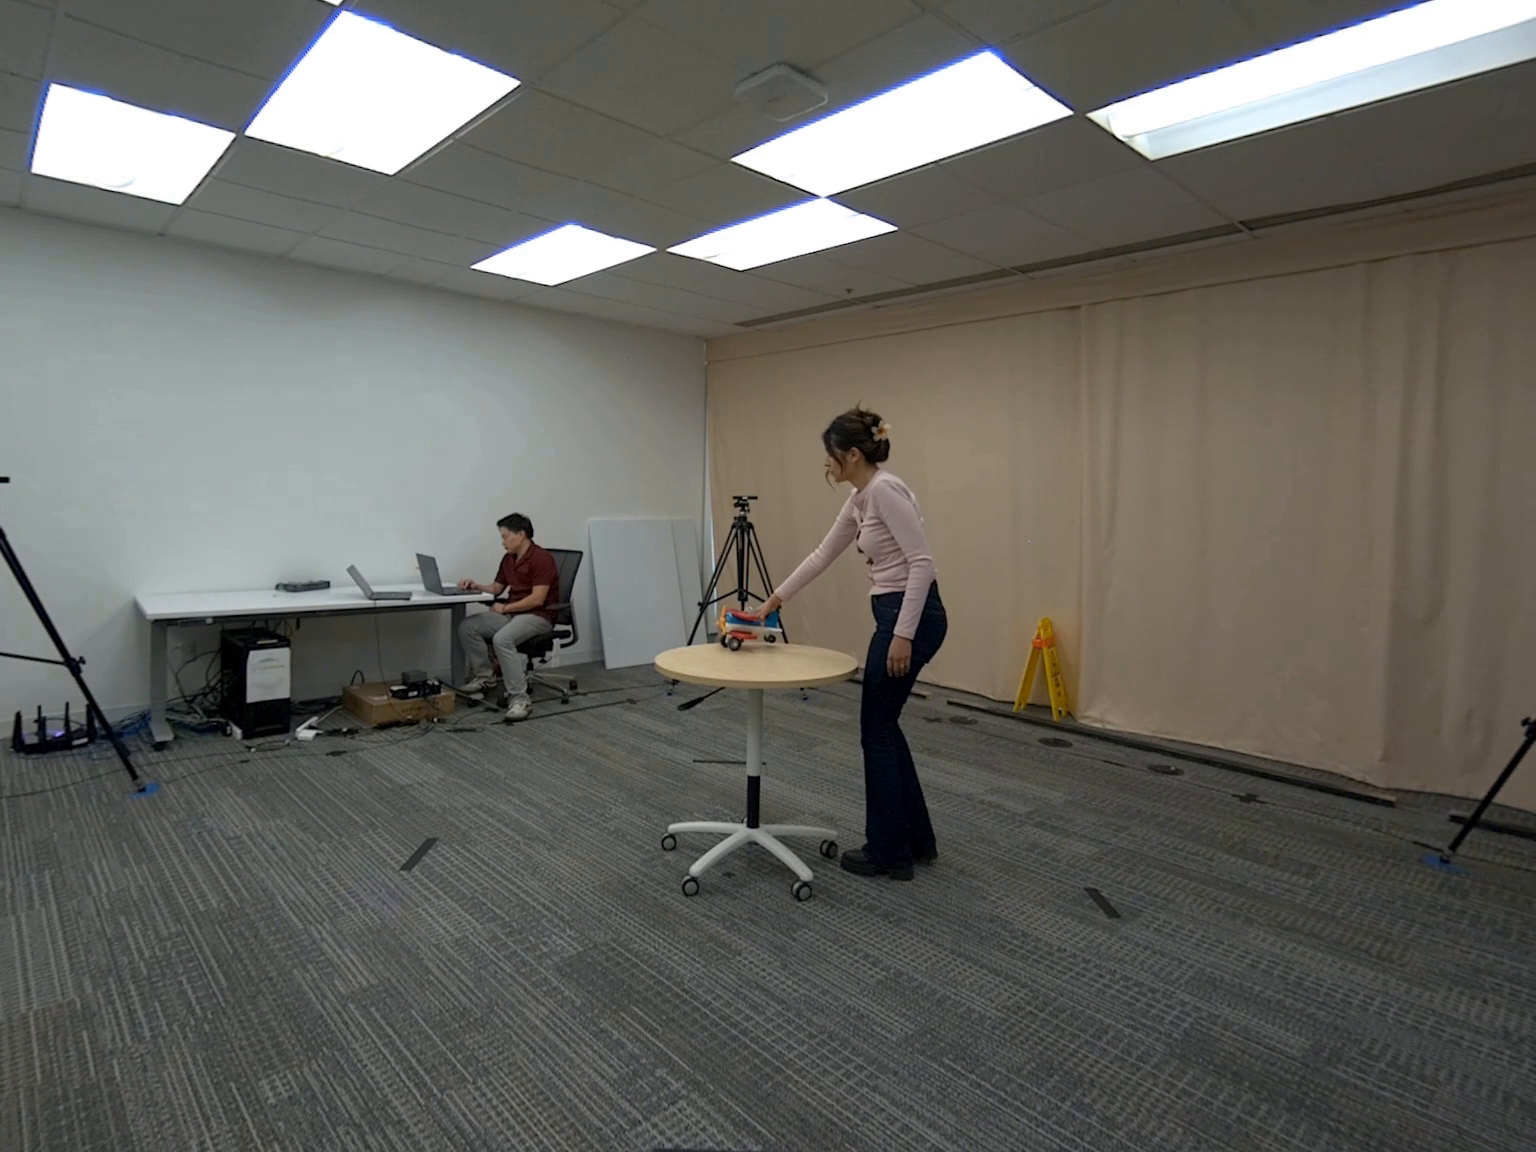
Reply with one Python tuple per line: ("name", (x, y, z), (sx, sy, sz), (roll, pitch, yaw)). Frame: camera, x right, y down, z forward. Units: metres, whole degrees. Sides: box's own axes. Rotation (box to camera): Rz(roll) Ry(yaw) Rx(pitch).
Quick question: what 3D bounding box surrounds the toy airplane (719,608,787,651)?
("toy airplane", (-0.088, 0.209, 3.434), (0.257, 0.156, 0.254), (1, 8, 41))
